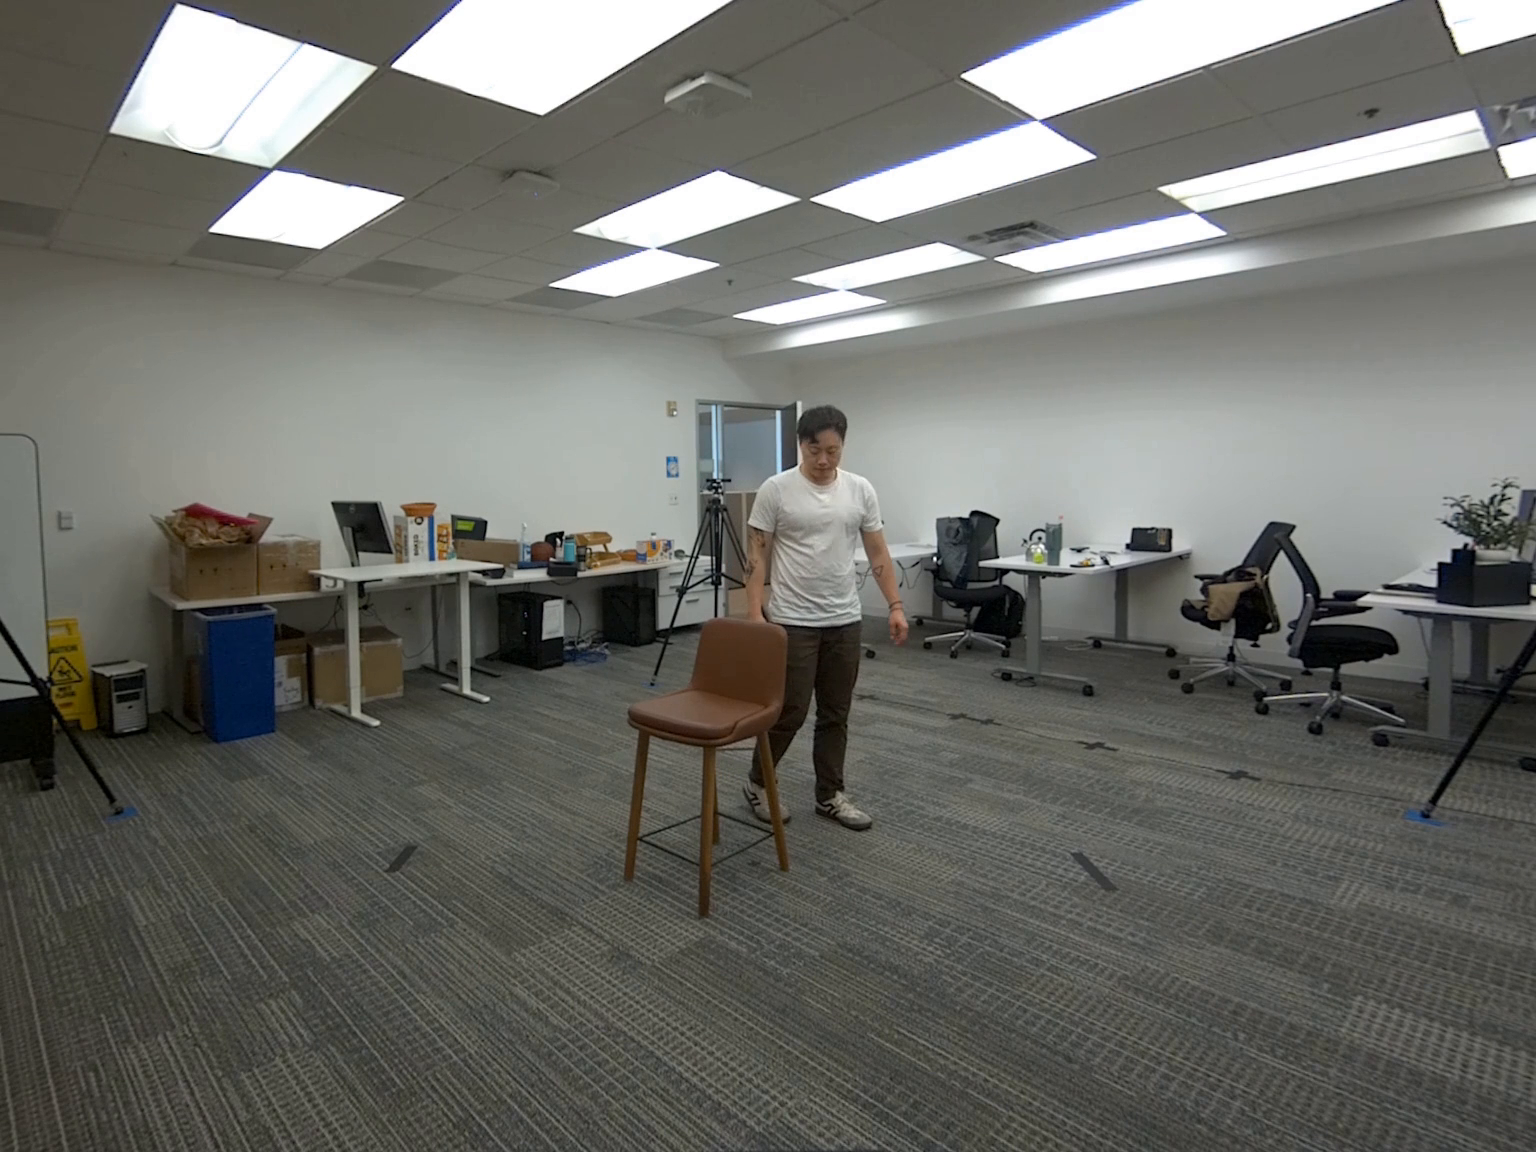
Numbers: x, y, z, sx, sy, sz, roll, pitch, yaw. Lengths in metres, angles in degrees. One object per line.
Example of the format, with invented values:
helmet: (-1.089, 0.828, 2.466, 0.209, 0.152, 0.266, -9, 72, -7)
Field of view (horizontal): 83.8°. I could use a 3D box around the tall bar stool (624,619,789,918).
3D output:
tall bar stool: (-0.214, 0.623, 2.996, 0.470, 0.888, 0.454, 3, 3, 43)
